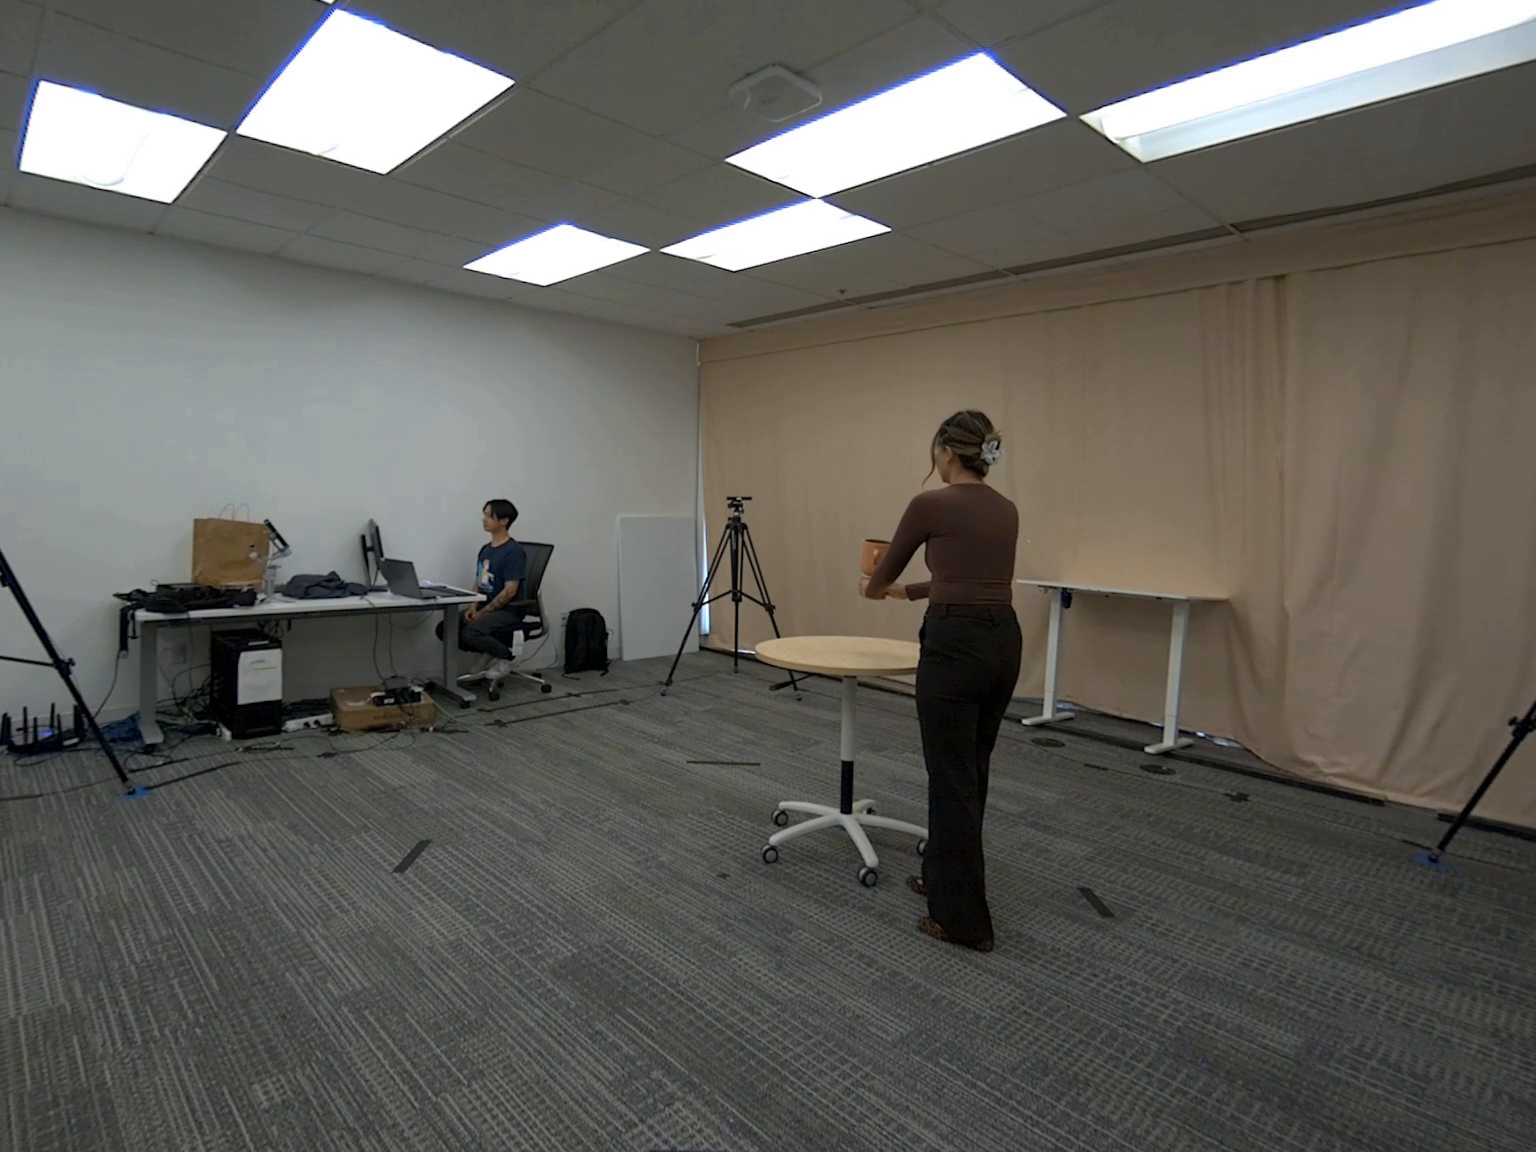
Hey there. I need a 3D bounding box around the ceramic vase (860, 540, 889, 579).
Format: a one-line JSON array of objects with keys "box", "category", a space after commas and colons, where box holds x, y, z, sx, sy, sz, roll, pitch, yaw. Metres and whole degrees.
[{"box": [0.411, -0.026, 3.267, 0.155, 0.218, 0.138, -2, 10, -37], "category": "ceramic vase"}]
